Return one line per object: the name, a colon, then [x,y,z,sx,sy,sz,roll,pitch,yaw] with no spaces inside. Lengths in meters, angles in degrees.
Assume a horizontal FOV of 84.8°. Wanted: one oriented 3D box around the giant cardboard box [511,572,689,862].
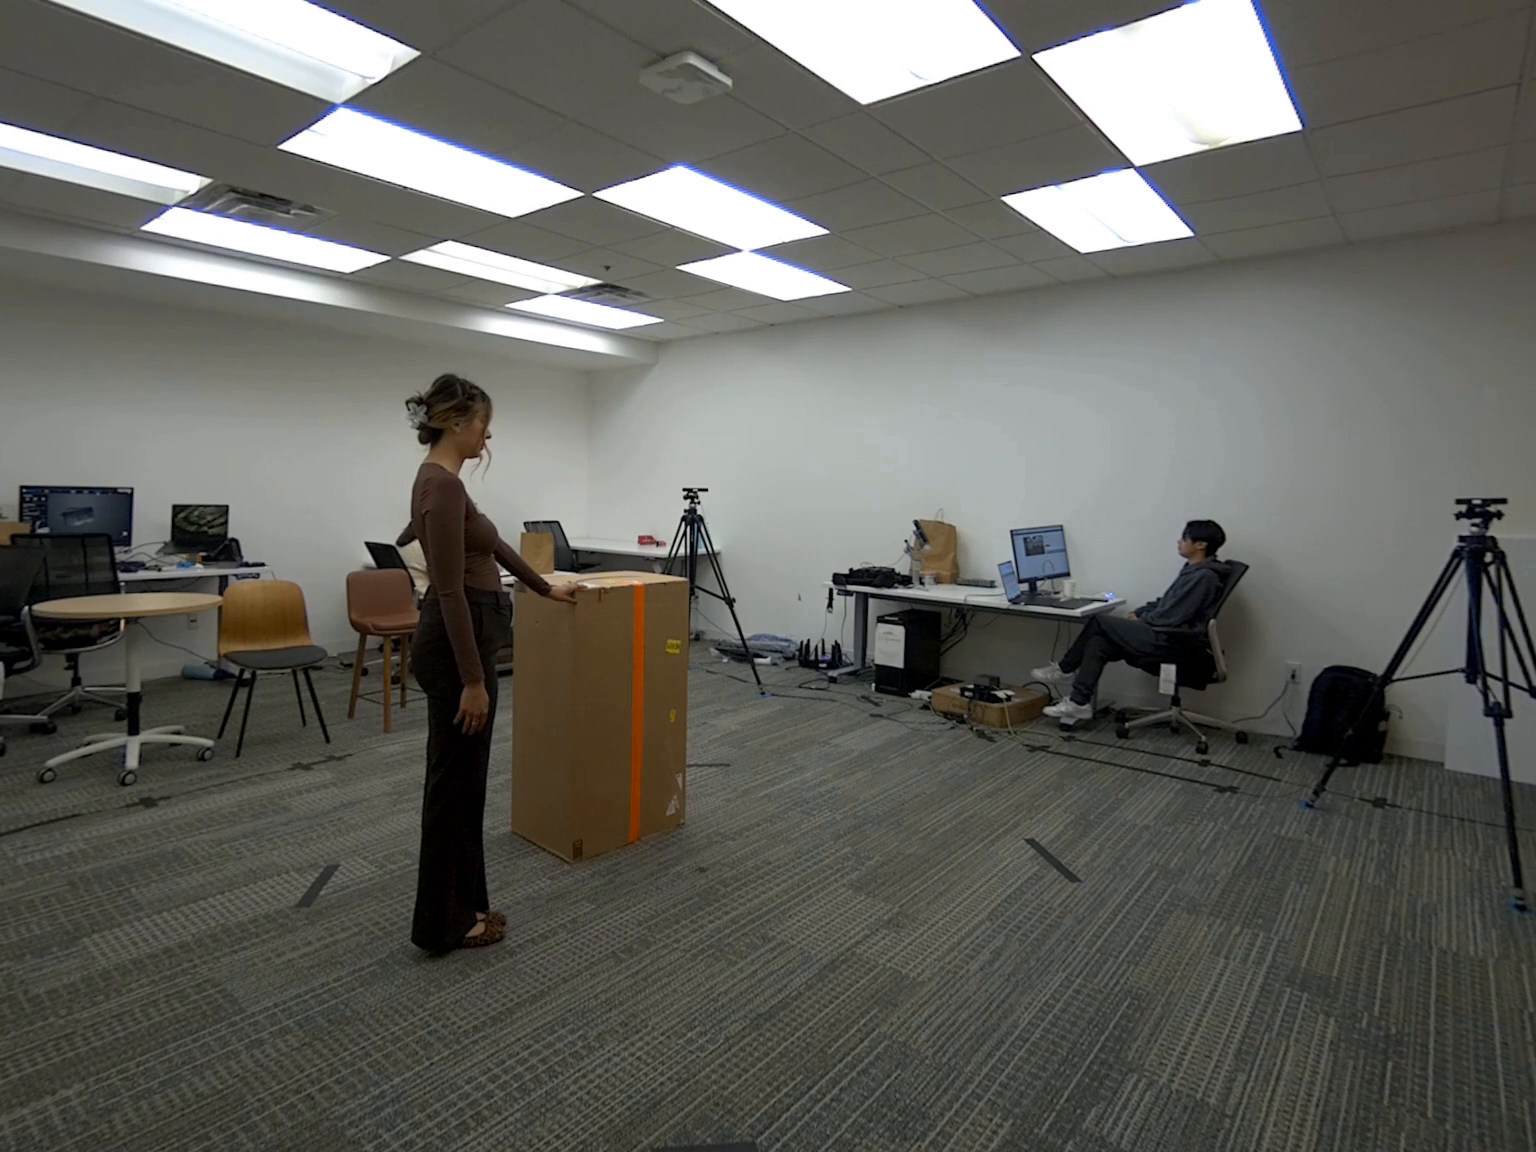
giant cardboard box: [-0.688,0.519,3.455,0.462,1.024,0.566,5,5,45]
